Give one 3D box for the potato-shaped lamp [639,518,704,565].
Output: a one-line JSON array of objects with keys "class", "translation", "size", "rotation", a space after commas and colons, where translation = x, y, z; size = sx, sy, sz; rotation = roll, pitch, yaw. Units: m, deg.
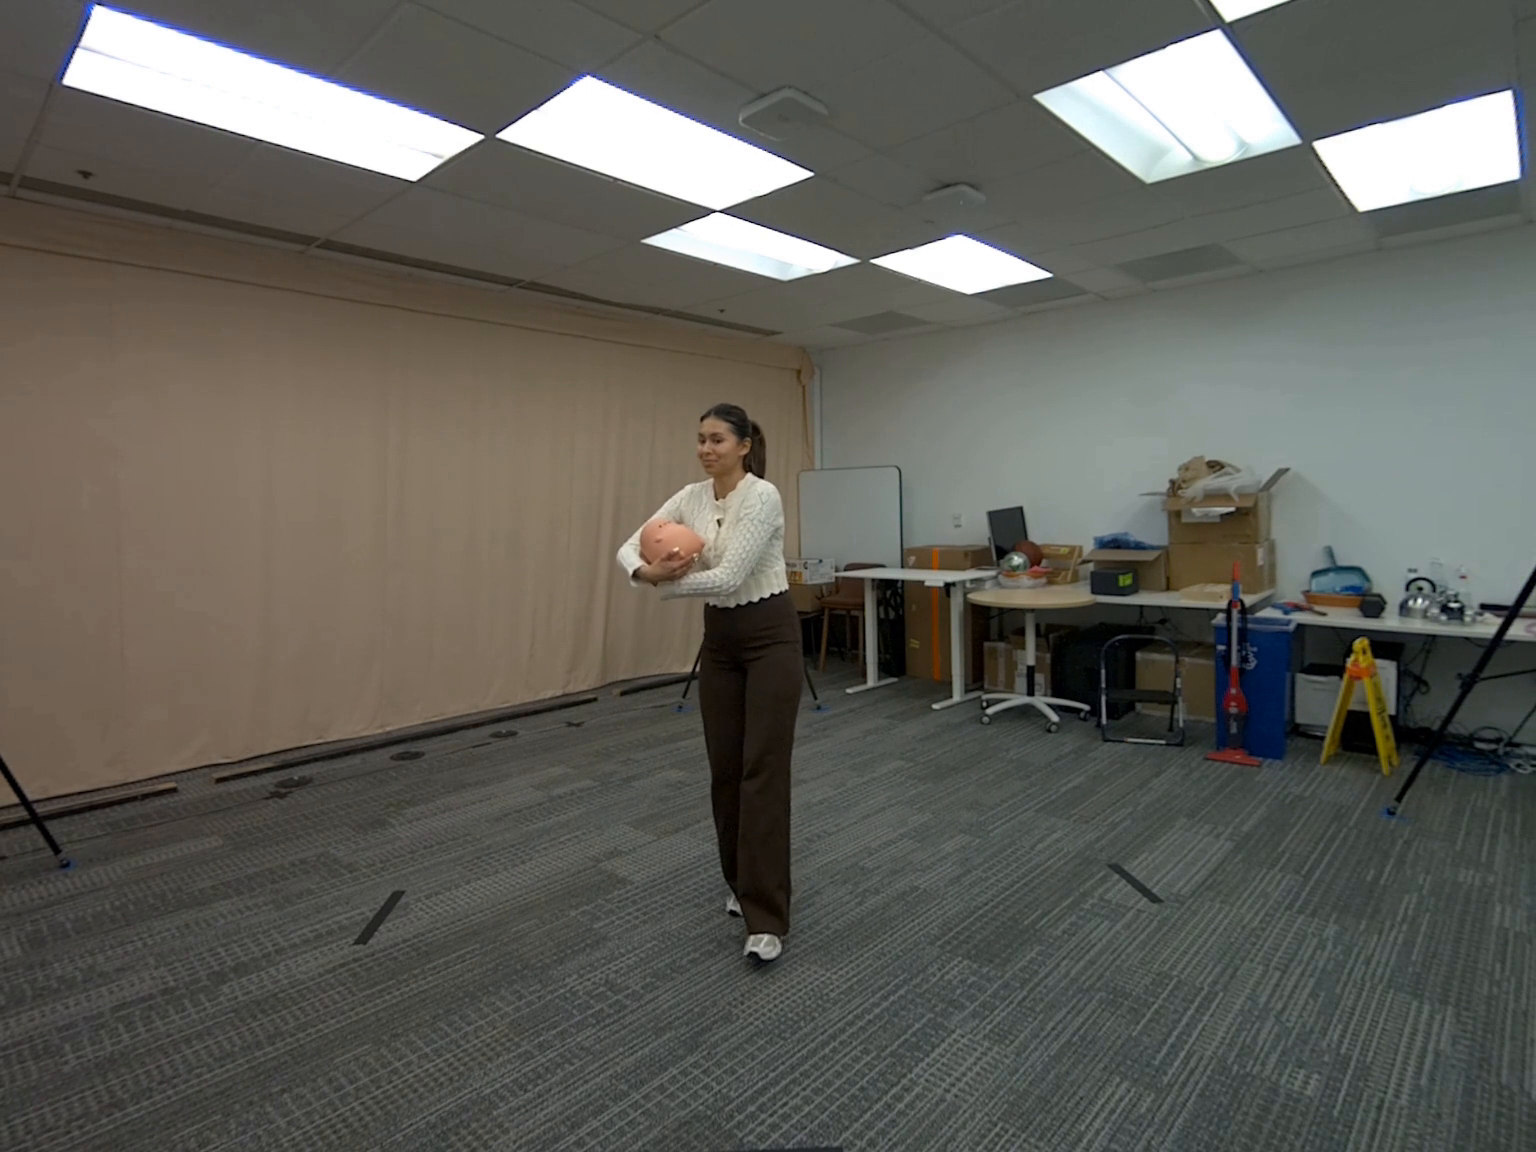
[{"class": "potato-shaped lamp", "translation": [-0.316, -0.086, 2.686], "size": [0.160, 0.202, 0.172], "rotation": [-15, -27, -48]}]
